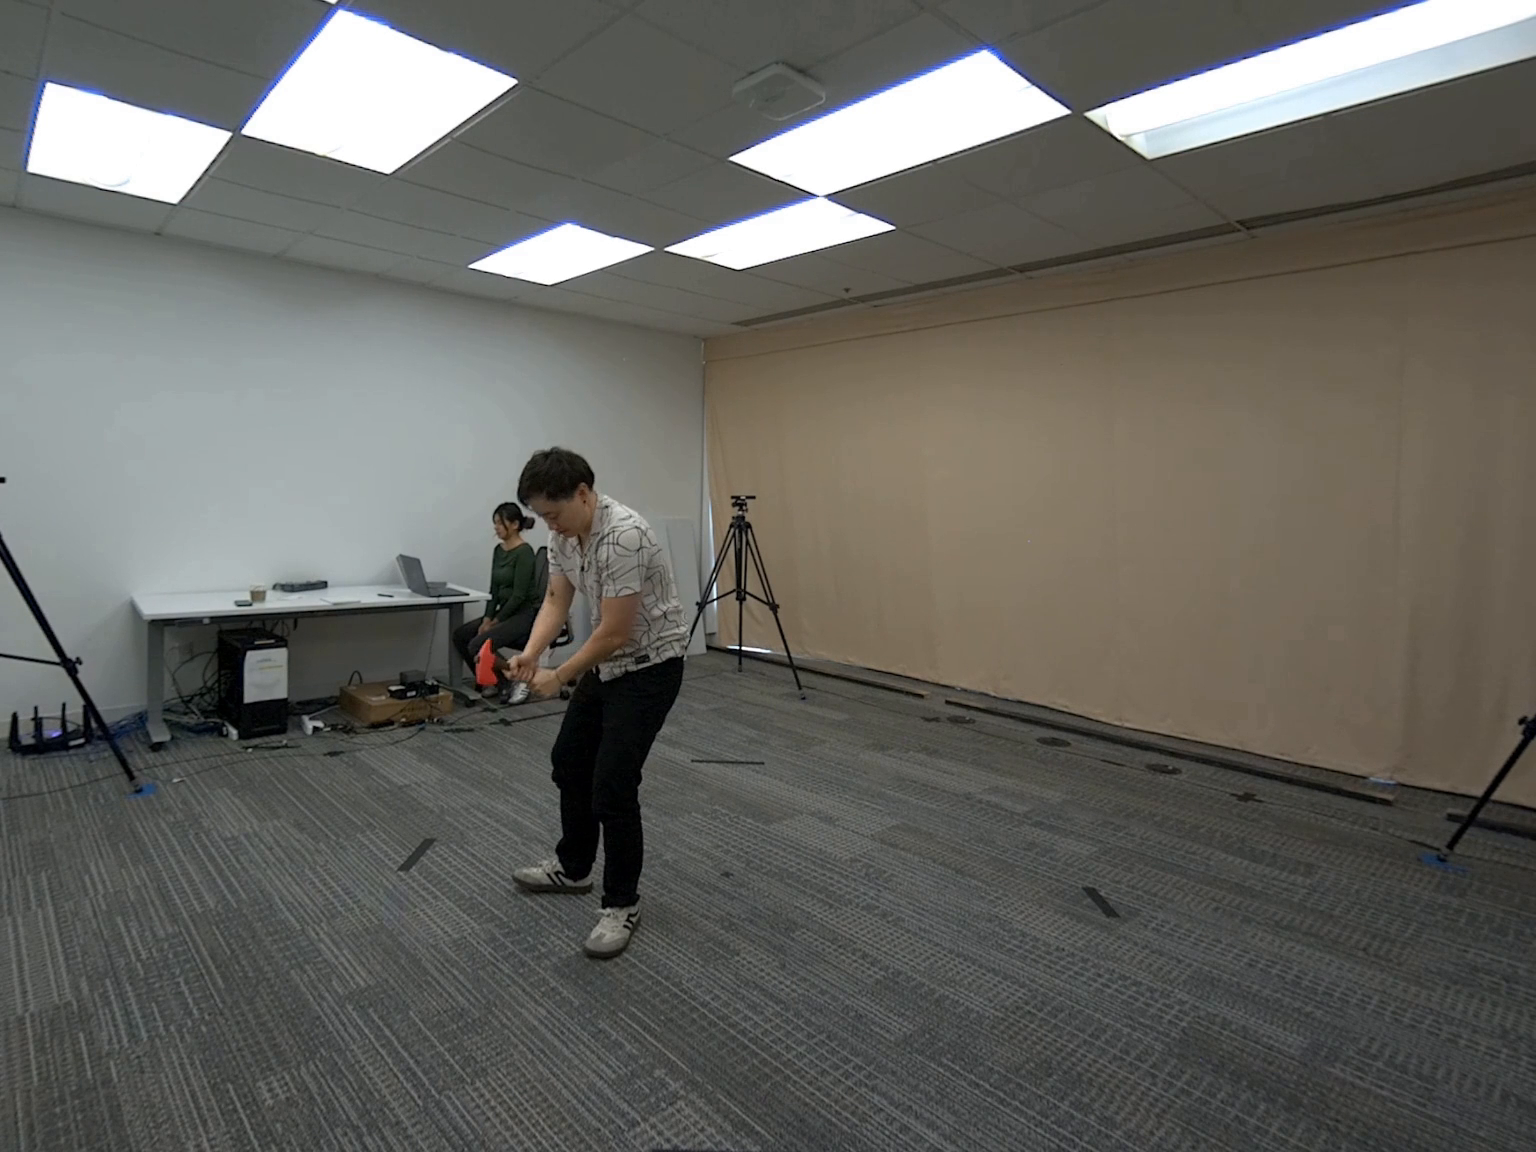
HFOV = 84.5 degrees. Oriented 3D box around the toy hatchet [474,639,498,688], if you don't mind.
[{"bbox_3d":[-0.773,0.320,2.517,0.030,0.132,0.263,-19,-53,41],"label":"toy hatchet"}]
